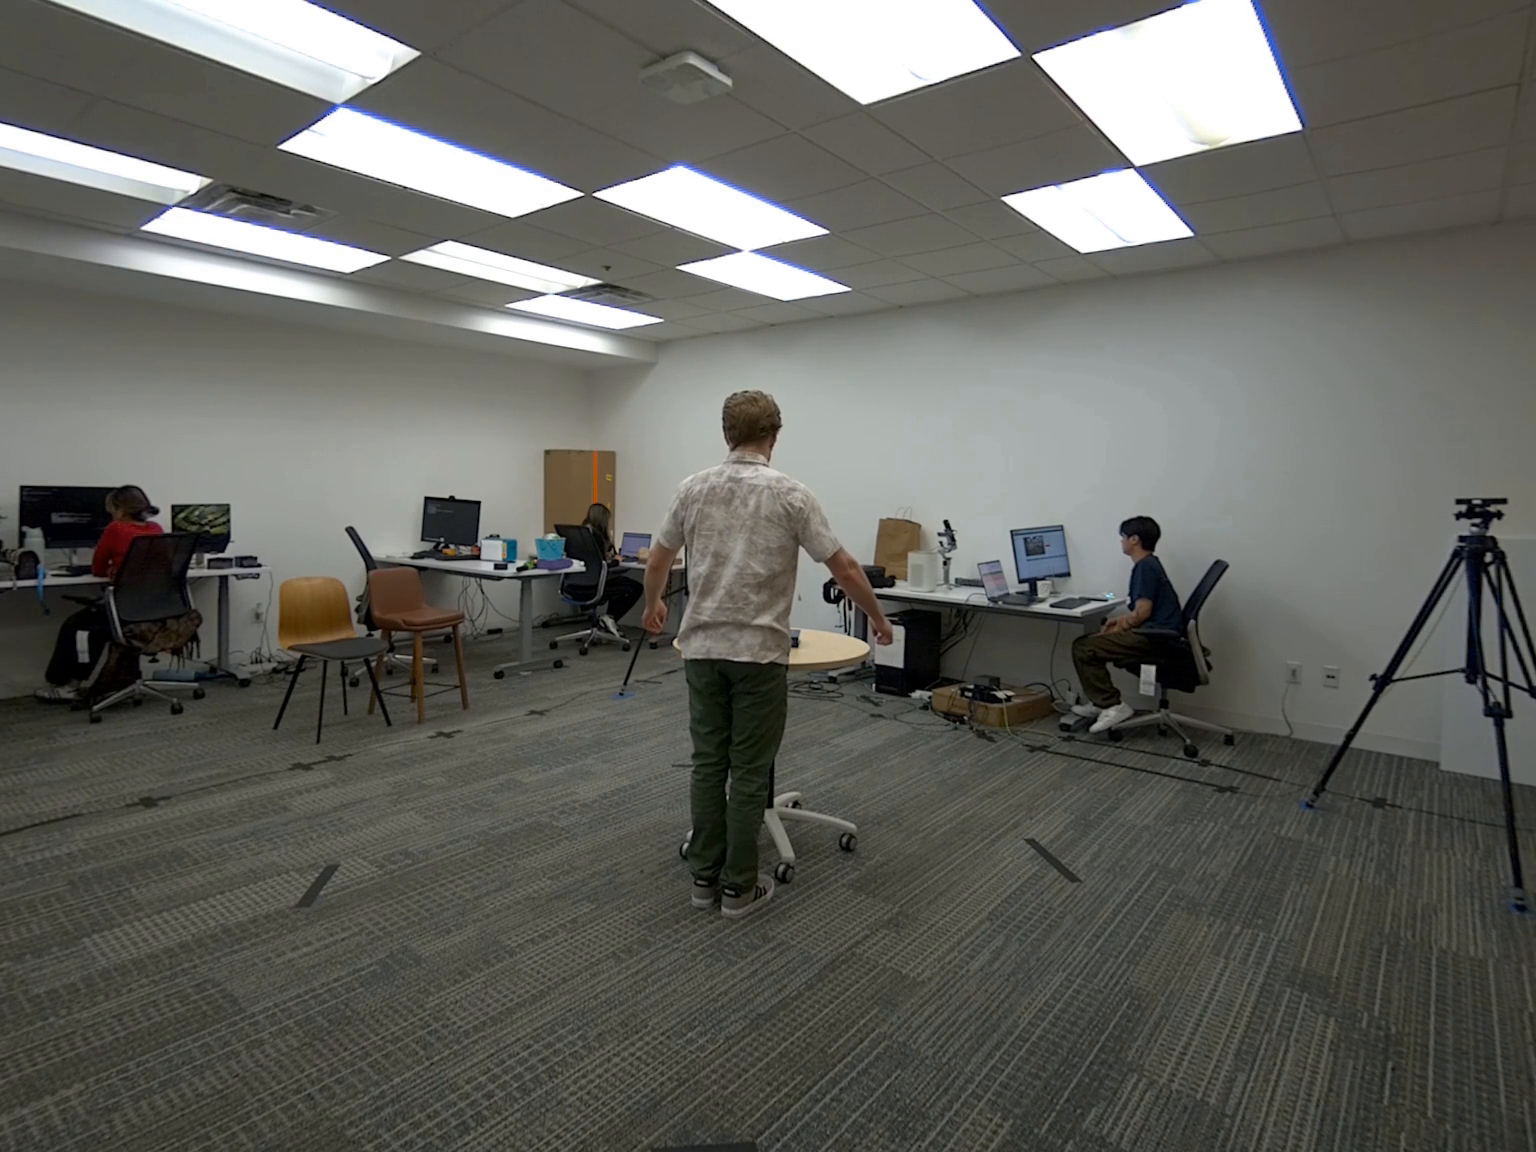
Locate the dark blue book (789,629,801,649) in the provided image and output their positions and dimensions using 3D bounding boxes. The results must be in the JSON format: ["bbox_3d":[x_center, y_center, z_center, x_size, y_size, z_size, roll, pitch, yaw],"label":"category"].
[{"bbox_3d":[0.004,0.235,3.338,0.247,0.045,0.162,1,5,8],"label":"dark blue book"}]
